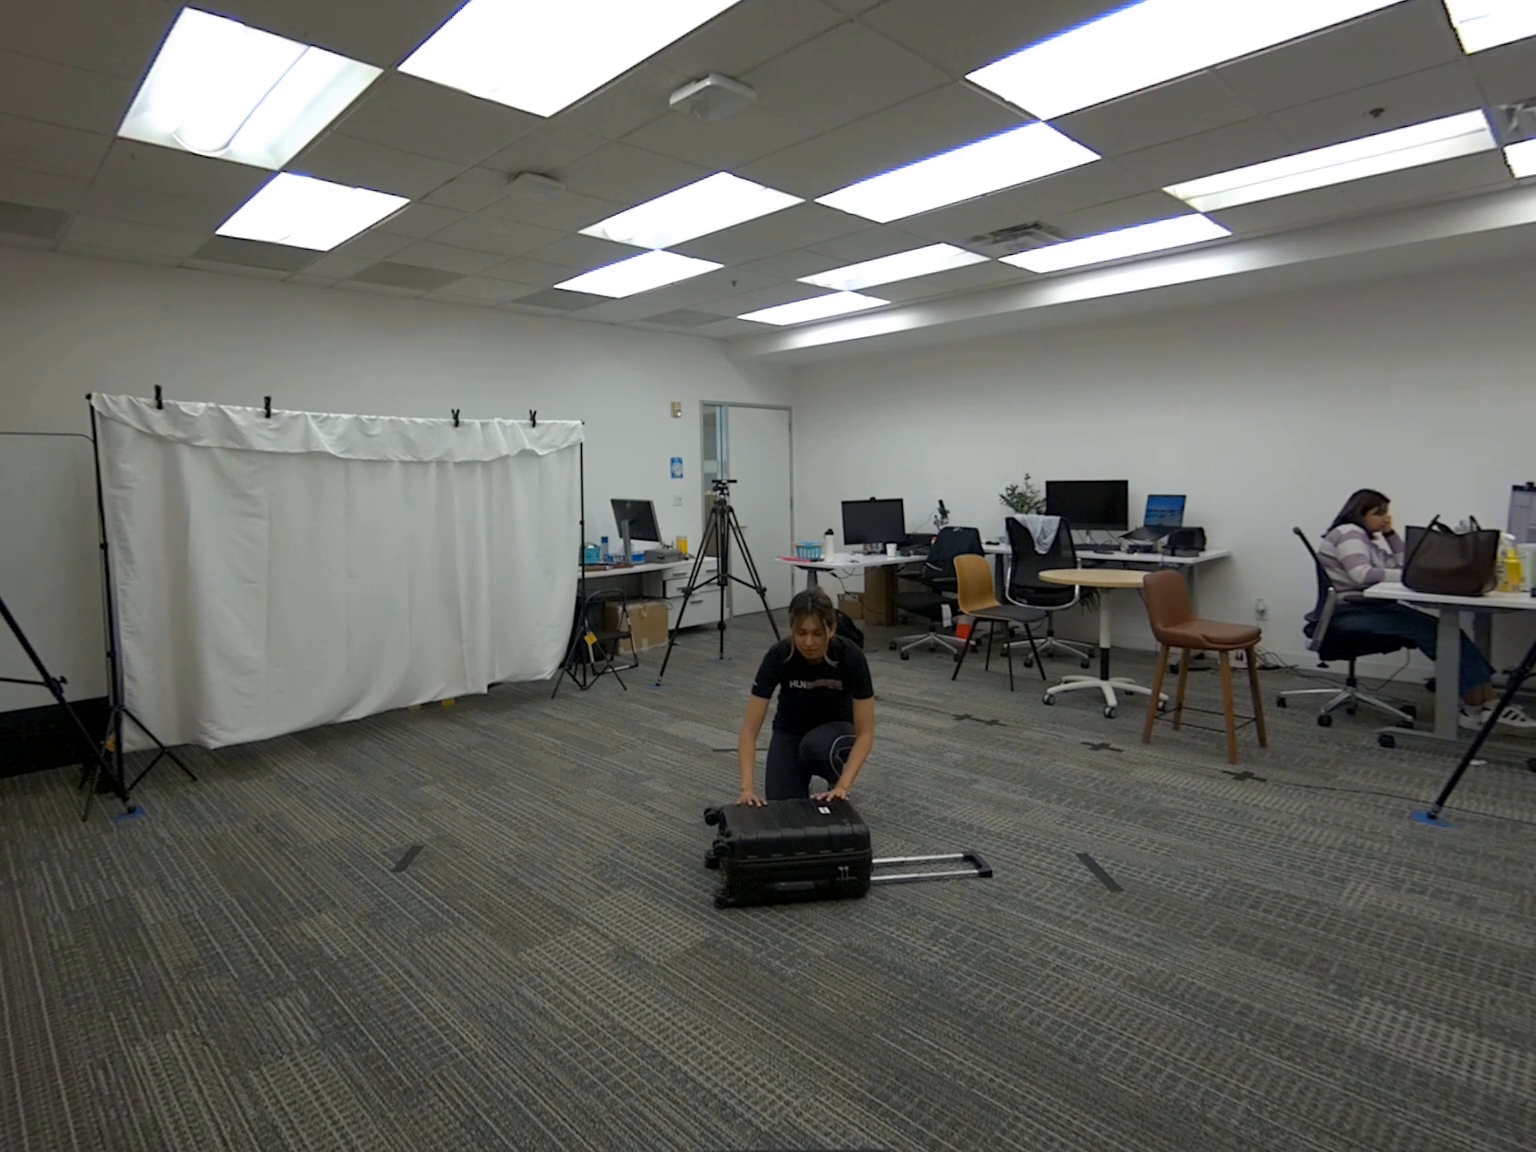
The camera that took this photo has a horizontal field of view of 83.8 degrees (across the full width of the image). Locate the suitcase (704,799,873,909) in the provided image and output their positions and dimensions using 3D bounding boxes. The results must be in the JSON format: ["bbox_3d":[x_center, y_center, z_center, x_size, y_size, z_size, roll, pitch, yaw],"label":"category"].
[{"bbox_3d":[0.276,0.933,2.977,0.973,0.256,0.387,-3,5,-6],"label":"suitcase"}]
